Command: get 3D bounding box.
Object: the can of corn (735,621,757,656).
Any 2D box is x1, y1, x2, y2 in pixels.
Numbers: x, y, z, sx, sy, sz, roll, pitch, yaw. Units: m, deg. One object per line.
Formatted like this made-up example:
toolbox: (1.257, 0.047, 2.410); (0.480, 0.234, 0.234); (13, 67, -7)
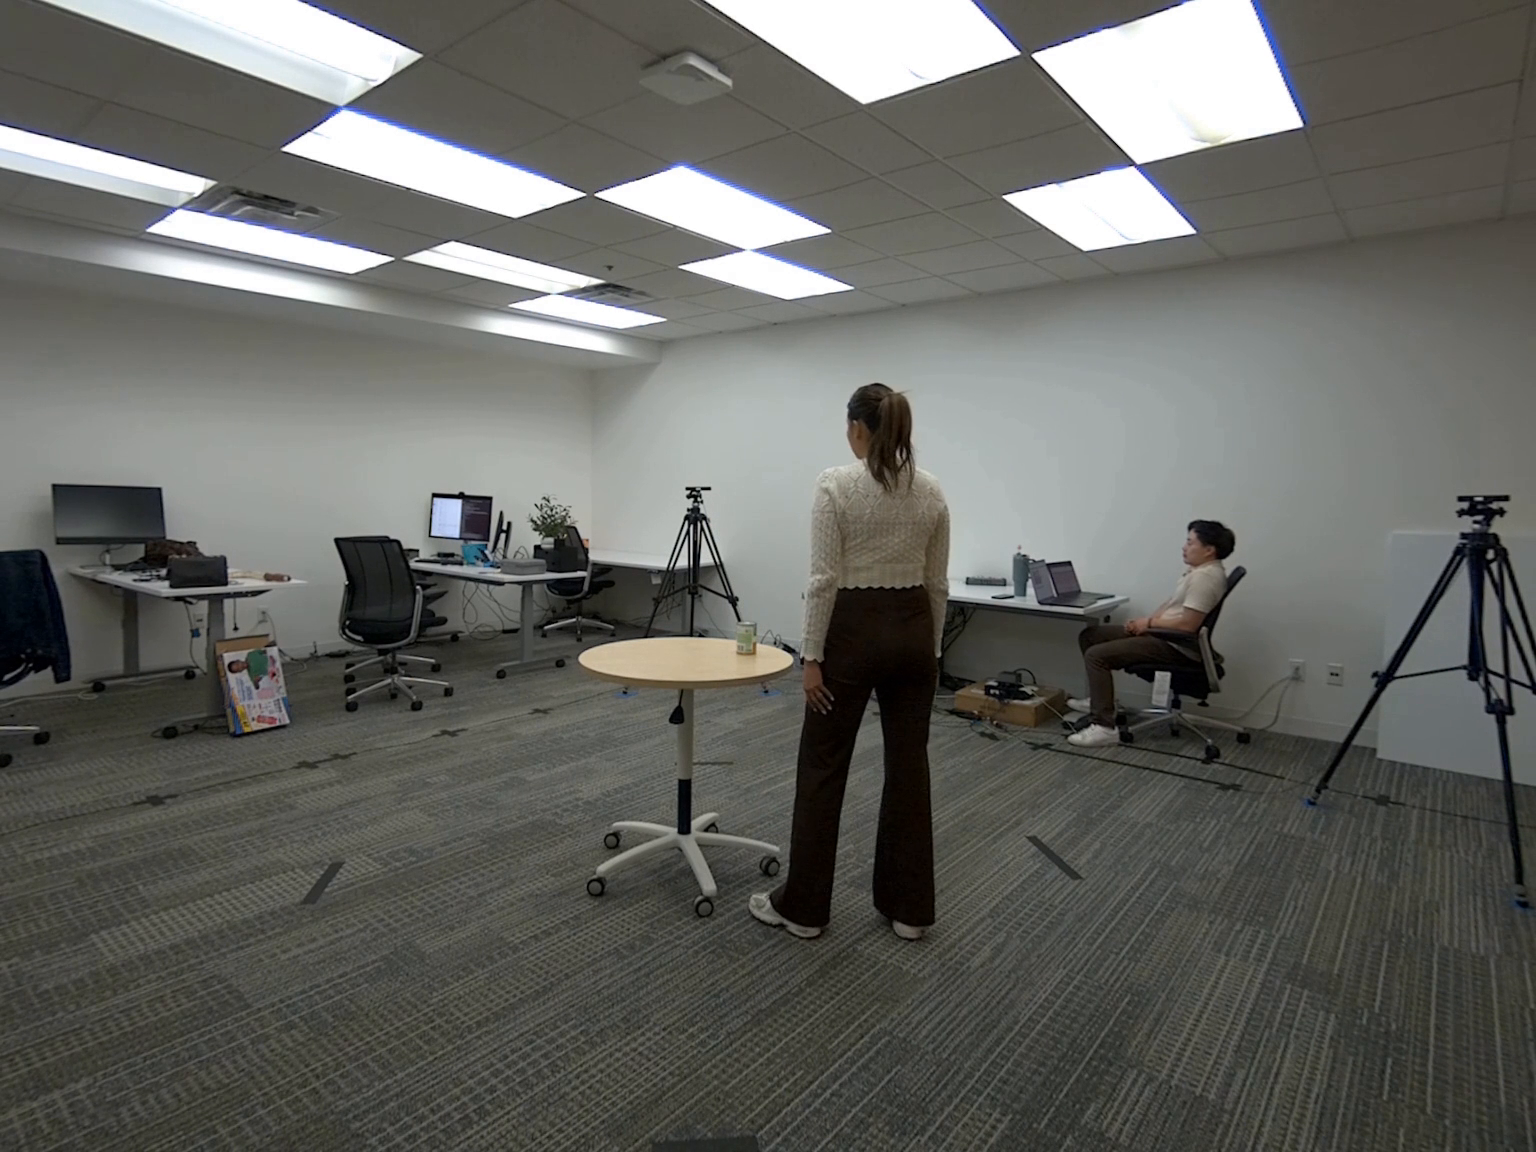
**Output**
can of corn: (-0.089, 0.223, 3.121); (0.074, 0.111, 0.074); (1, 2, -2)
